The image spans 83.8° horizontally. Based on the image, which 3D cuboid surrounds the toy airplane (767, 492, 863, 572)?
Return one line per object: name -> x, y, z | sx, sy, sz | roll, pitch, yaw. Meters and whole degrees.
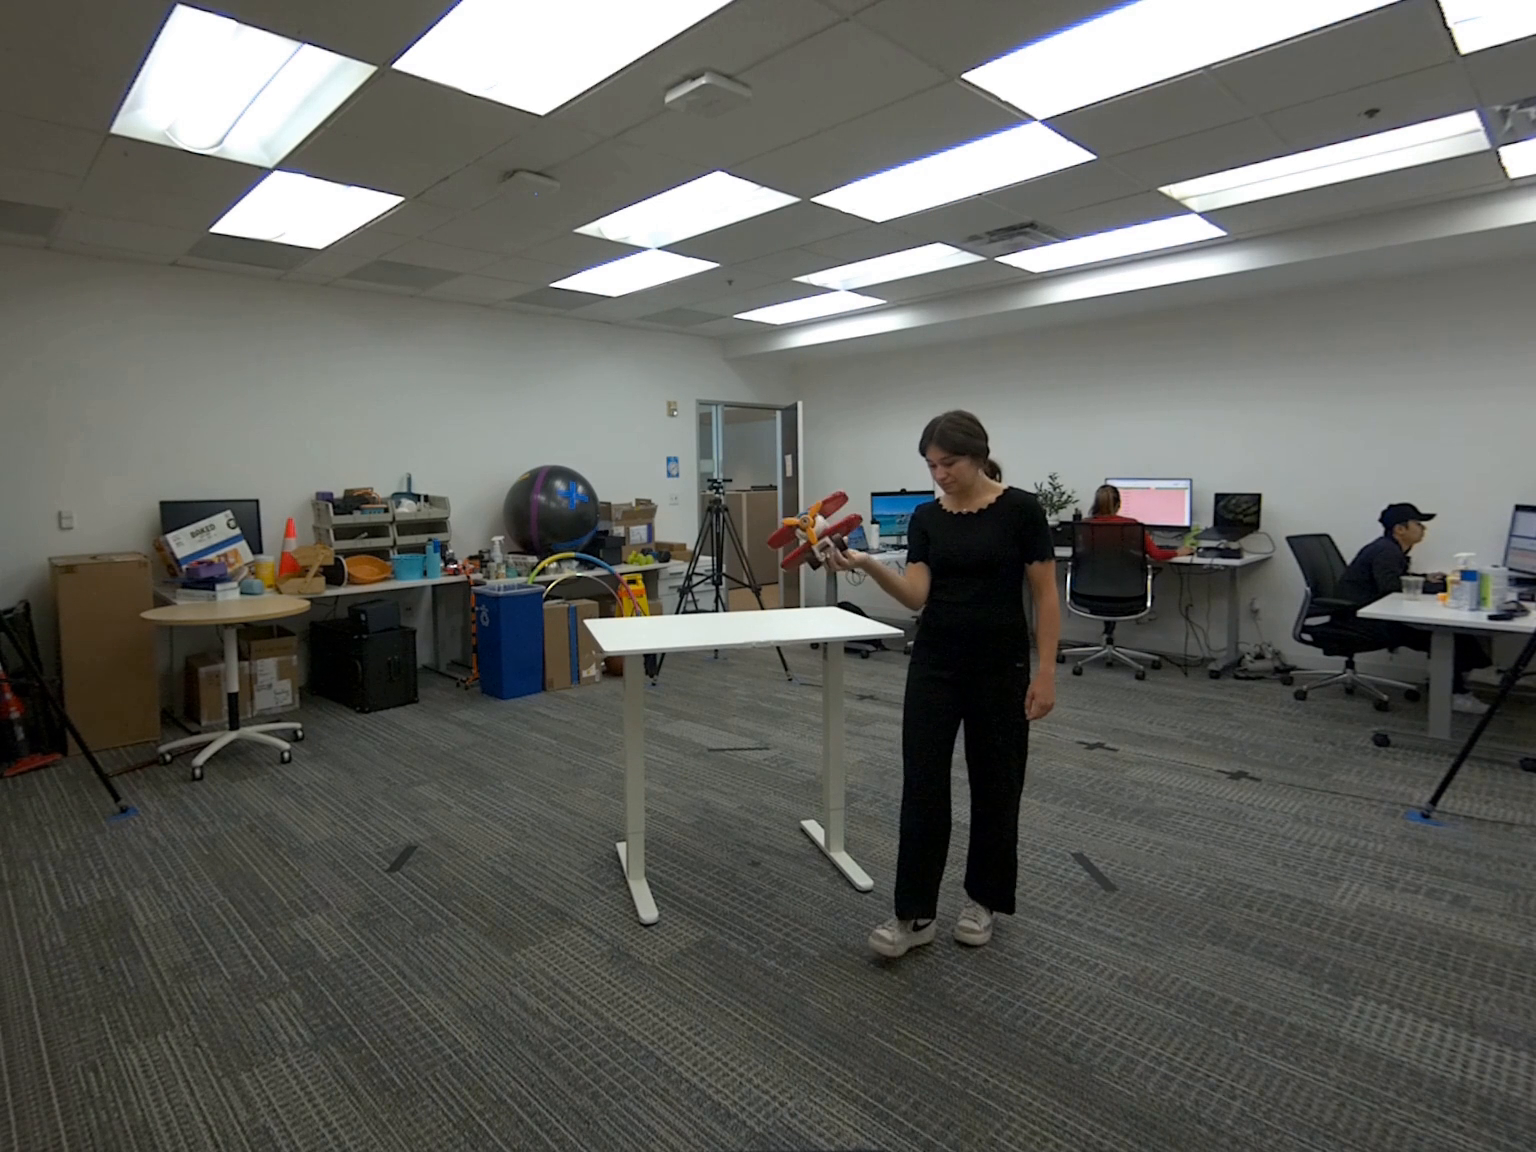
toy airplane -> 0.128, -0.088, 2.345 | 0.249, 0.159, 0.257 | -28, -11, -21
